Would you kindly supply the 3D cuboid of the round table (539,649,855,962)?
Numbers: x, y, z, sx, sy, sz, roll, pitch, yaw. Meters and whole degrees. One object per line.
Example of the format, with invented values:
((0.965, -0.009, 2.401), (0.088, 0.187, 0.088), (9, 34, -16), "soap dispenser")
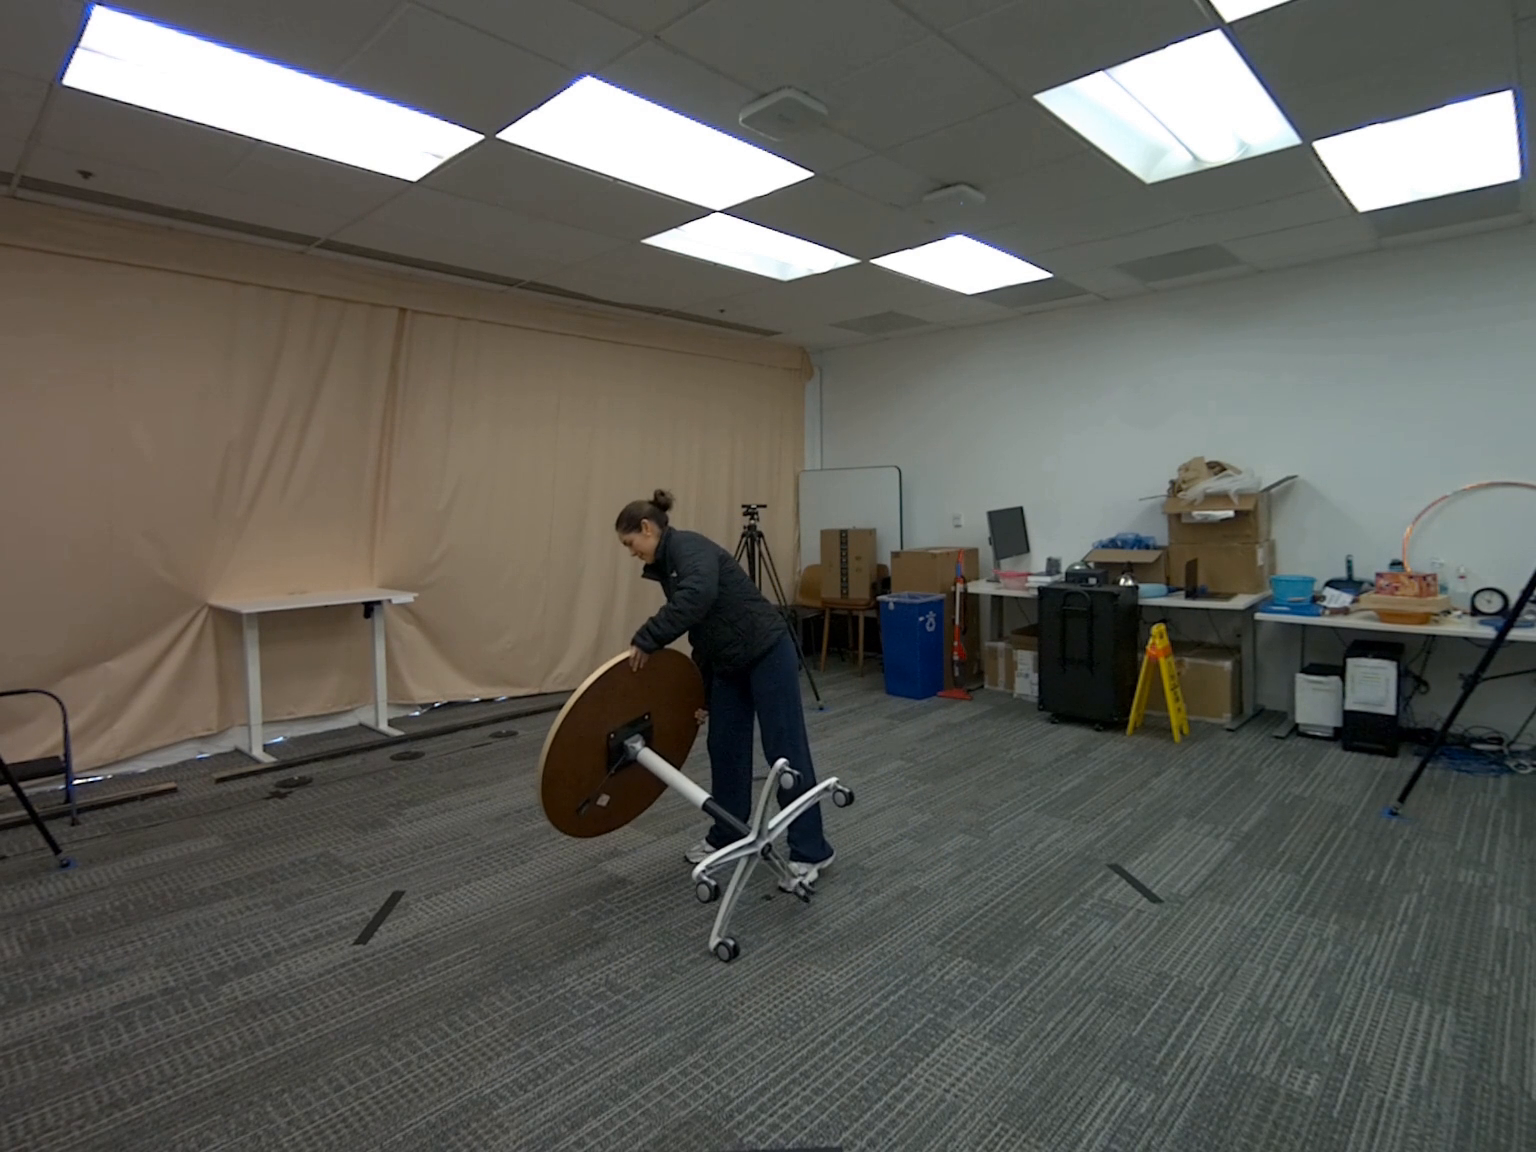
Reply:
((-0.213, 0.735, 2.840), (0.815, 0.781, 0.762), (25, 19, 35), "round table")
